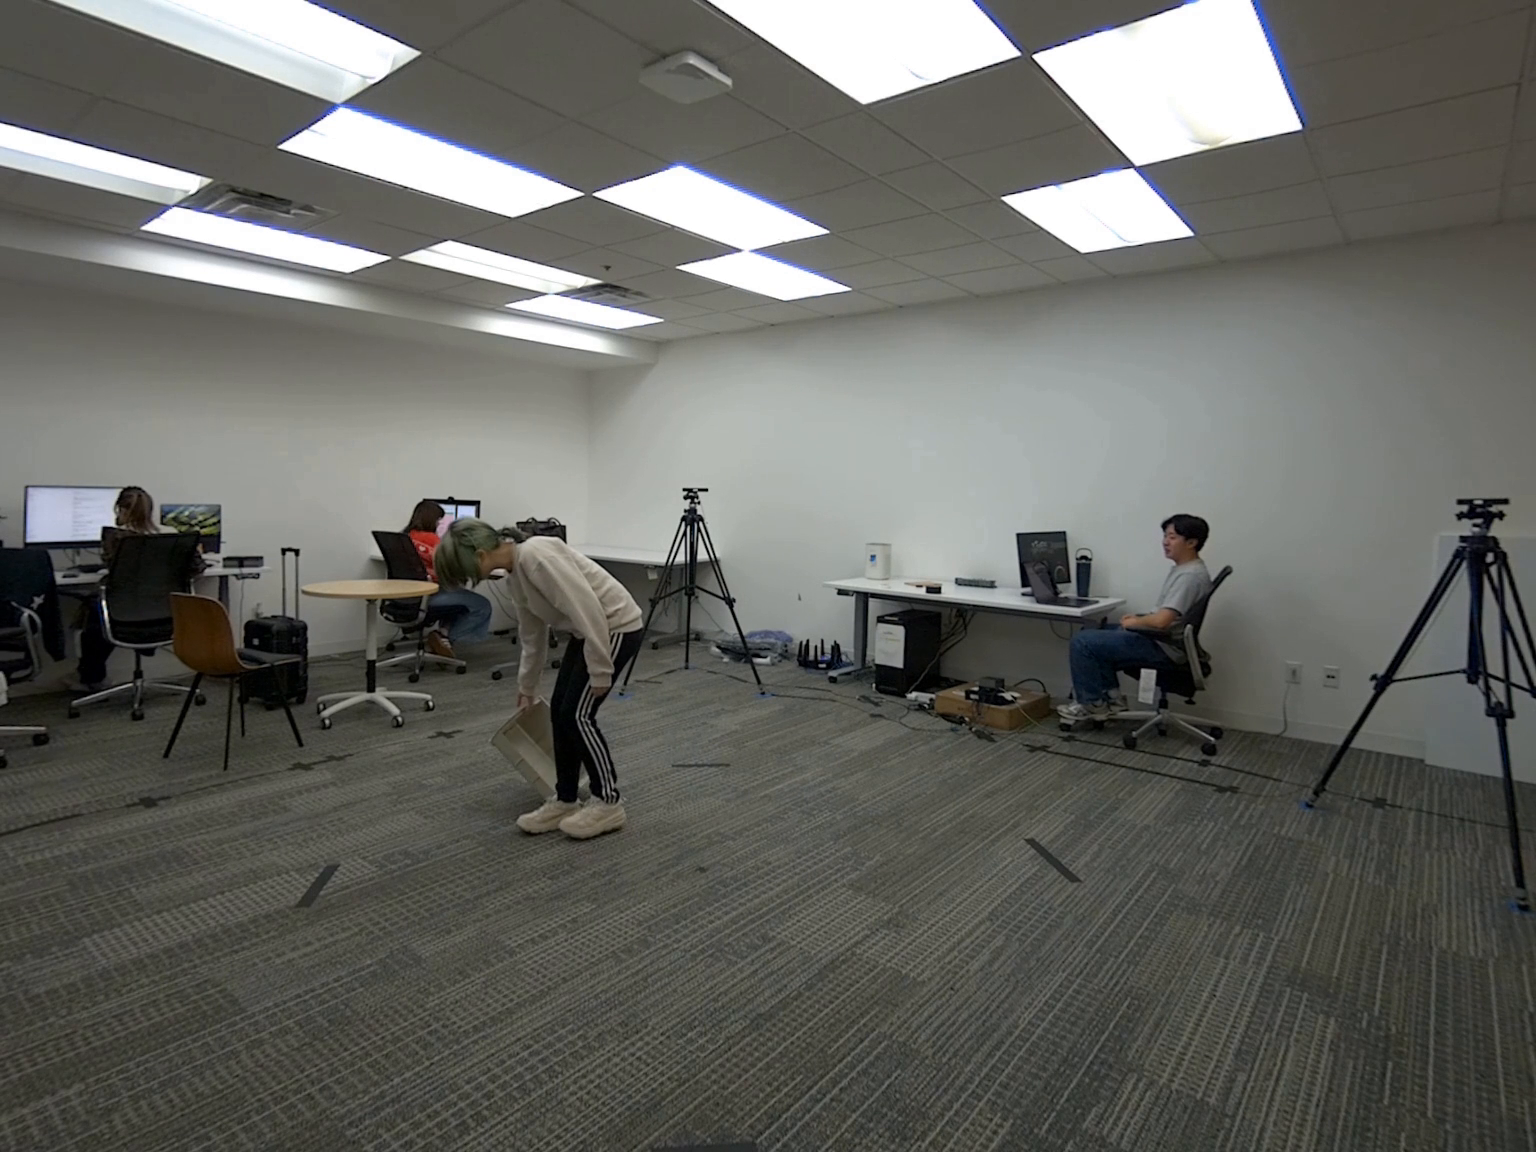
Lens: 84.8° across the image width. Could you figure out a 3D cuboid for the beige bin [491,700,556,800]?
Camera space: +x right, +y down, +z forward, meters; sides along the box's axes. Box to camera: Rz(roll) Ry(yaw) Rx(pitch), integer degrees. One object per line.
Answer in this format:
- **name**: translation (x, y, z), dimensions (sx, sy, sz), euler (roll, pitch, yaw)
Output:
- **beige bin**: translation (-0.997, 0.783, 3.762), dimensions (0.424, 0.189, 0.376), euler (45, 5, 1)
